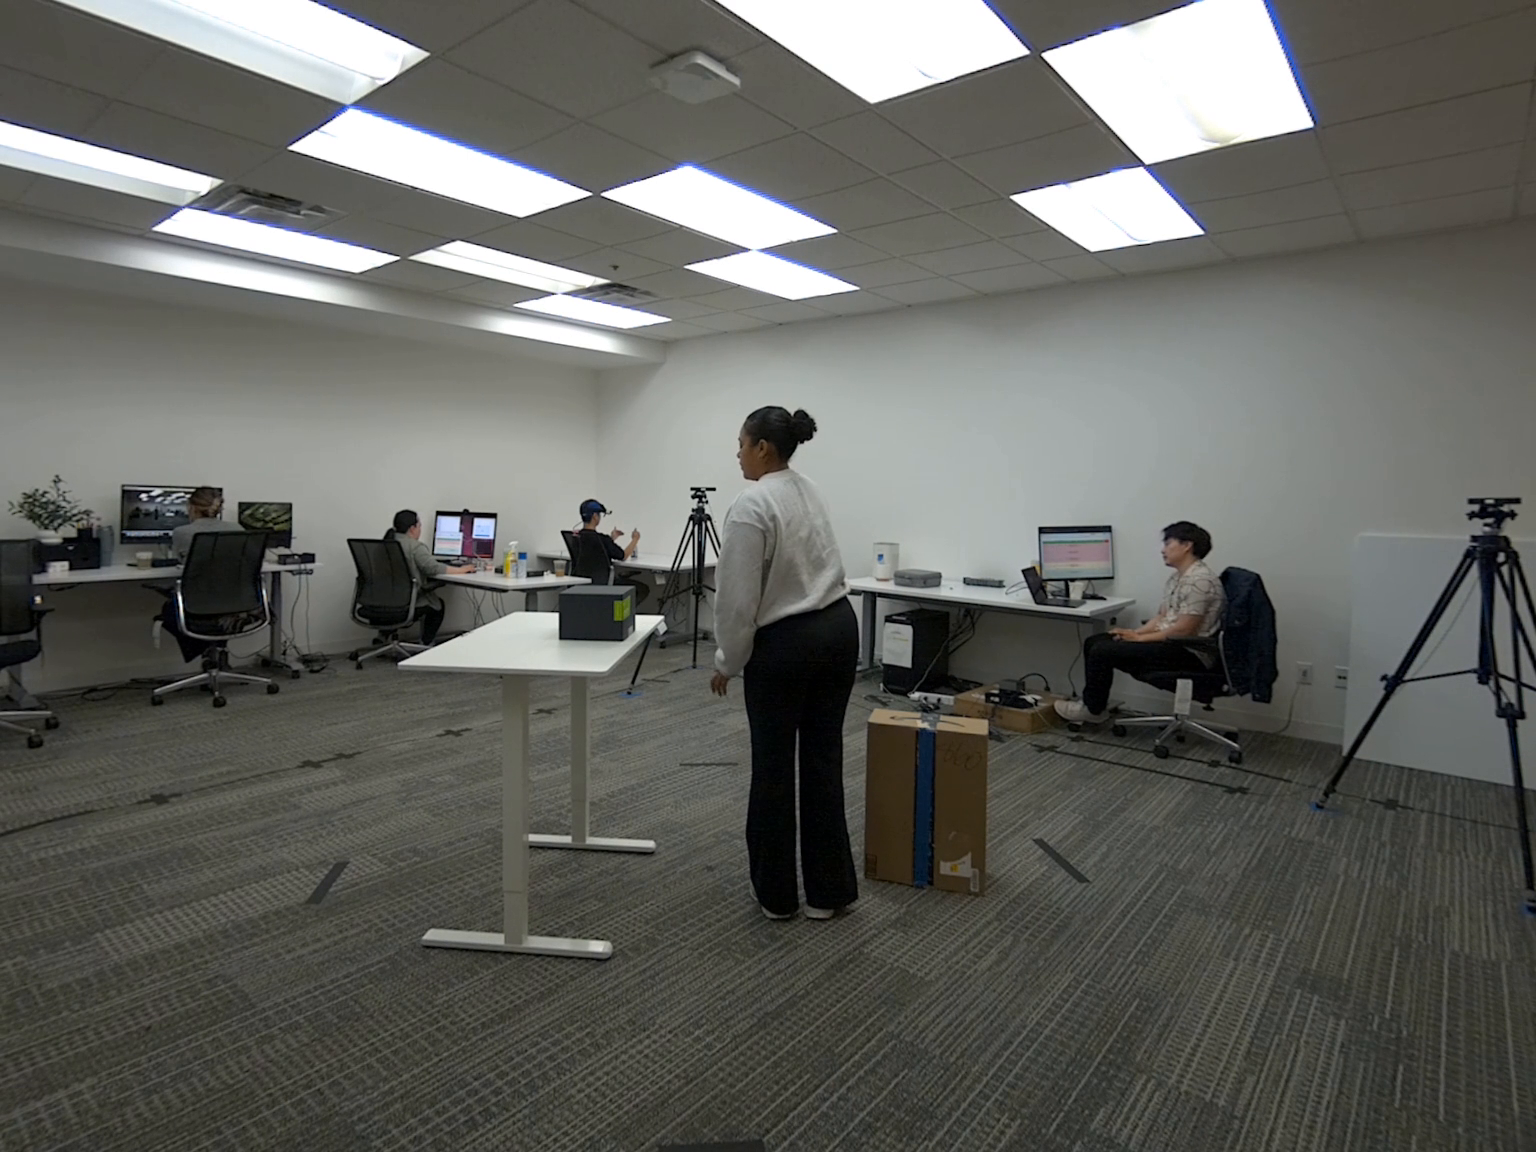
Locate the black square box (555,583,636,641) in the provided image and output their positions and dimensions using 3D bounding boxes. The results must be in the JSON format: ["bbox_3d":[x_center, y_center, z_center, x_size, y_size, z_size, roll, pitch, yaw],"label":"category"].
[{"bbox_3d":[-0.589,0.119,2.881,0.218,0.155,0.228,-1,6,5],"label":"black square box"}]
